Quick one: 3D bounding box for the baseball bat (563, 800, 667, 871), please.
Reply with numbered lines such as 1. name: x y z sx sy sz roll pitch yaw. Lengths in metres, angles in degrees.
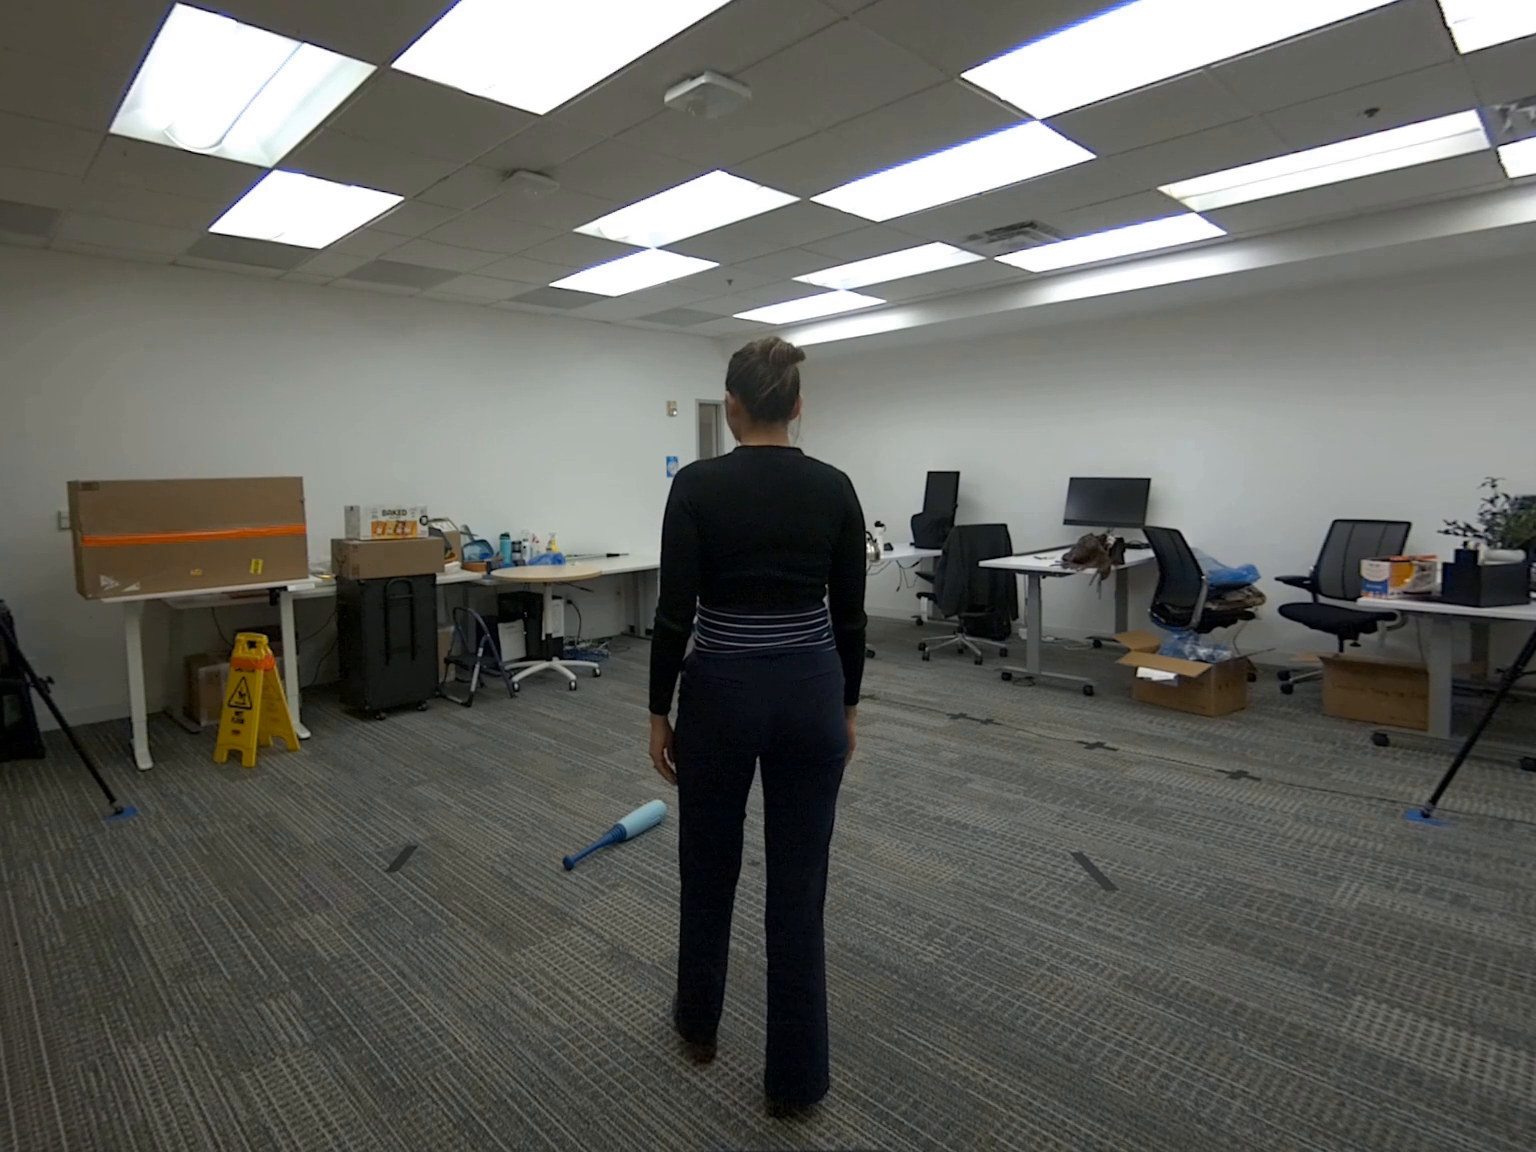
1. baseball bat: -0.582 0.997 3.294 0.091 0.088 0.532 2 10 32
